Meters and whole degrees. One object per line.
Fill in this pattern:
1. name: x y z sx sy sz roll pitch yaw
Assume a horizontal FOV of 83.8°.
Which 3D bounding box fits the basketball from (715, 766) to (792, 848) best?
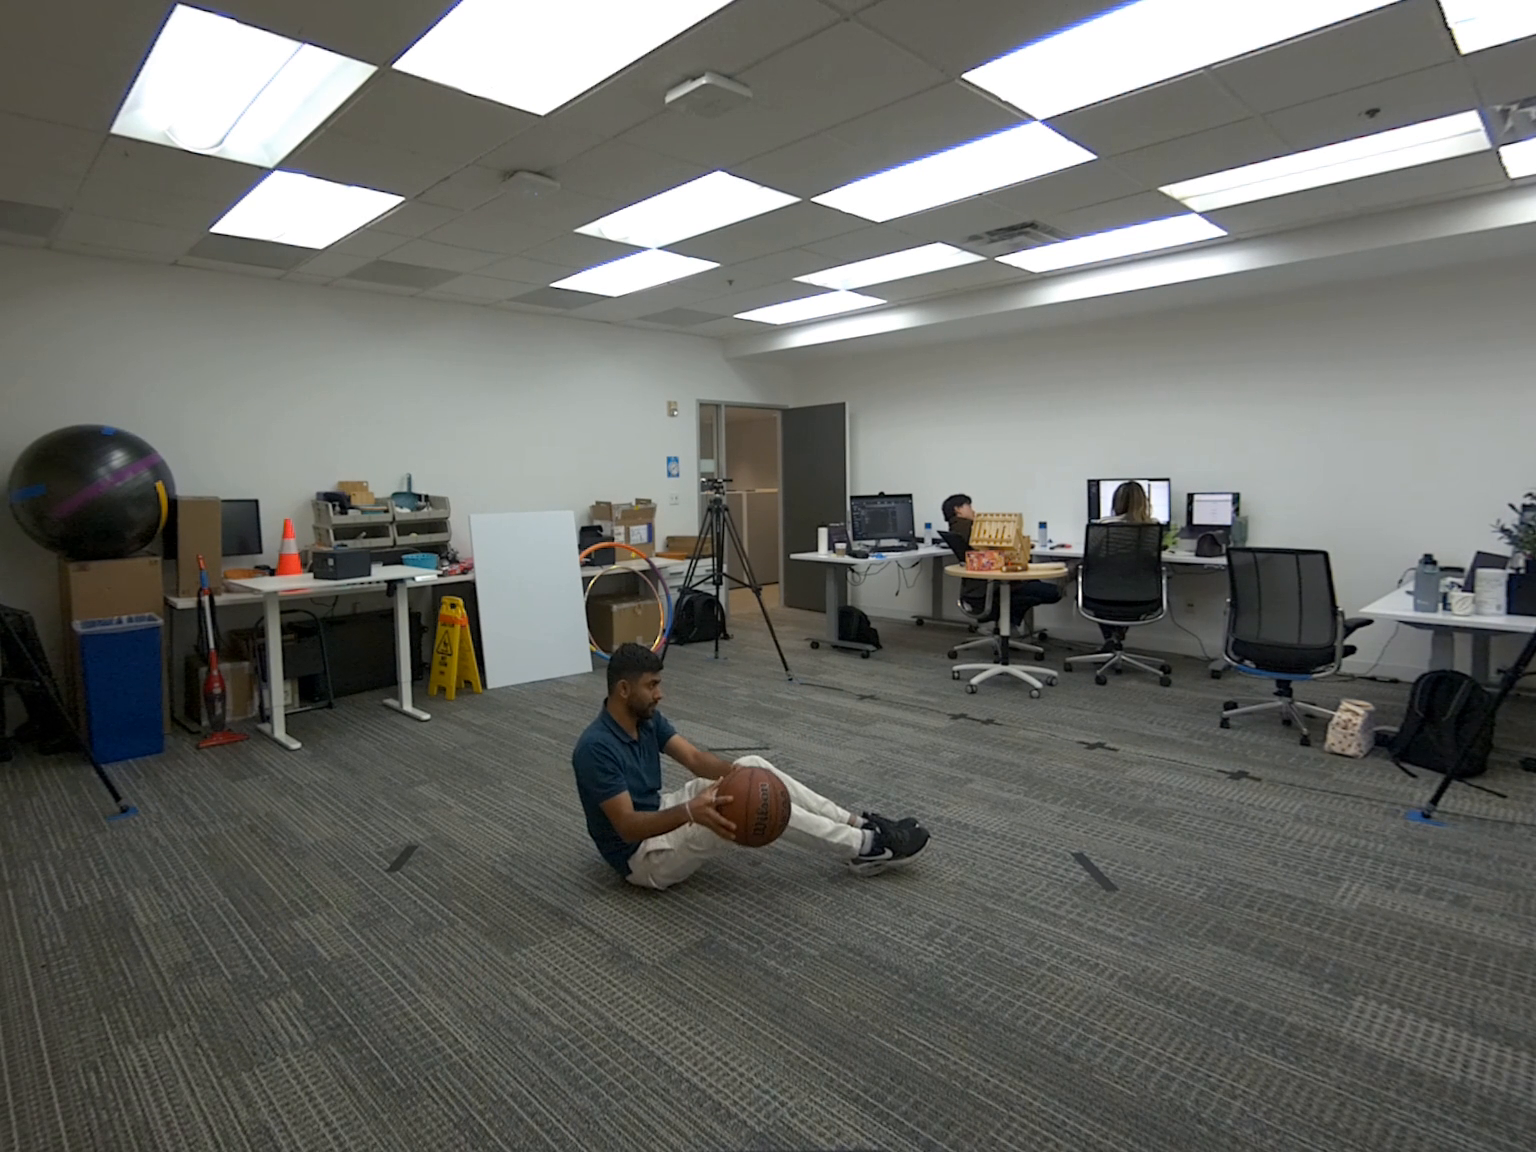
1. basketball: -0.036 0.700 2.638 0.236 0.235 0.237 -1 5 -2
